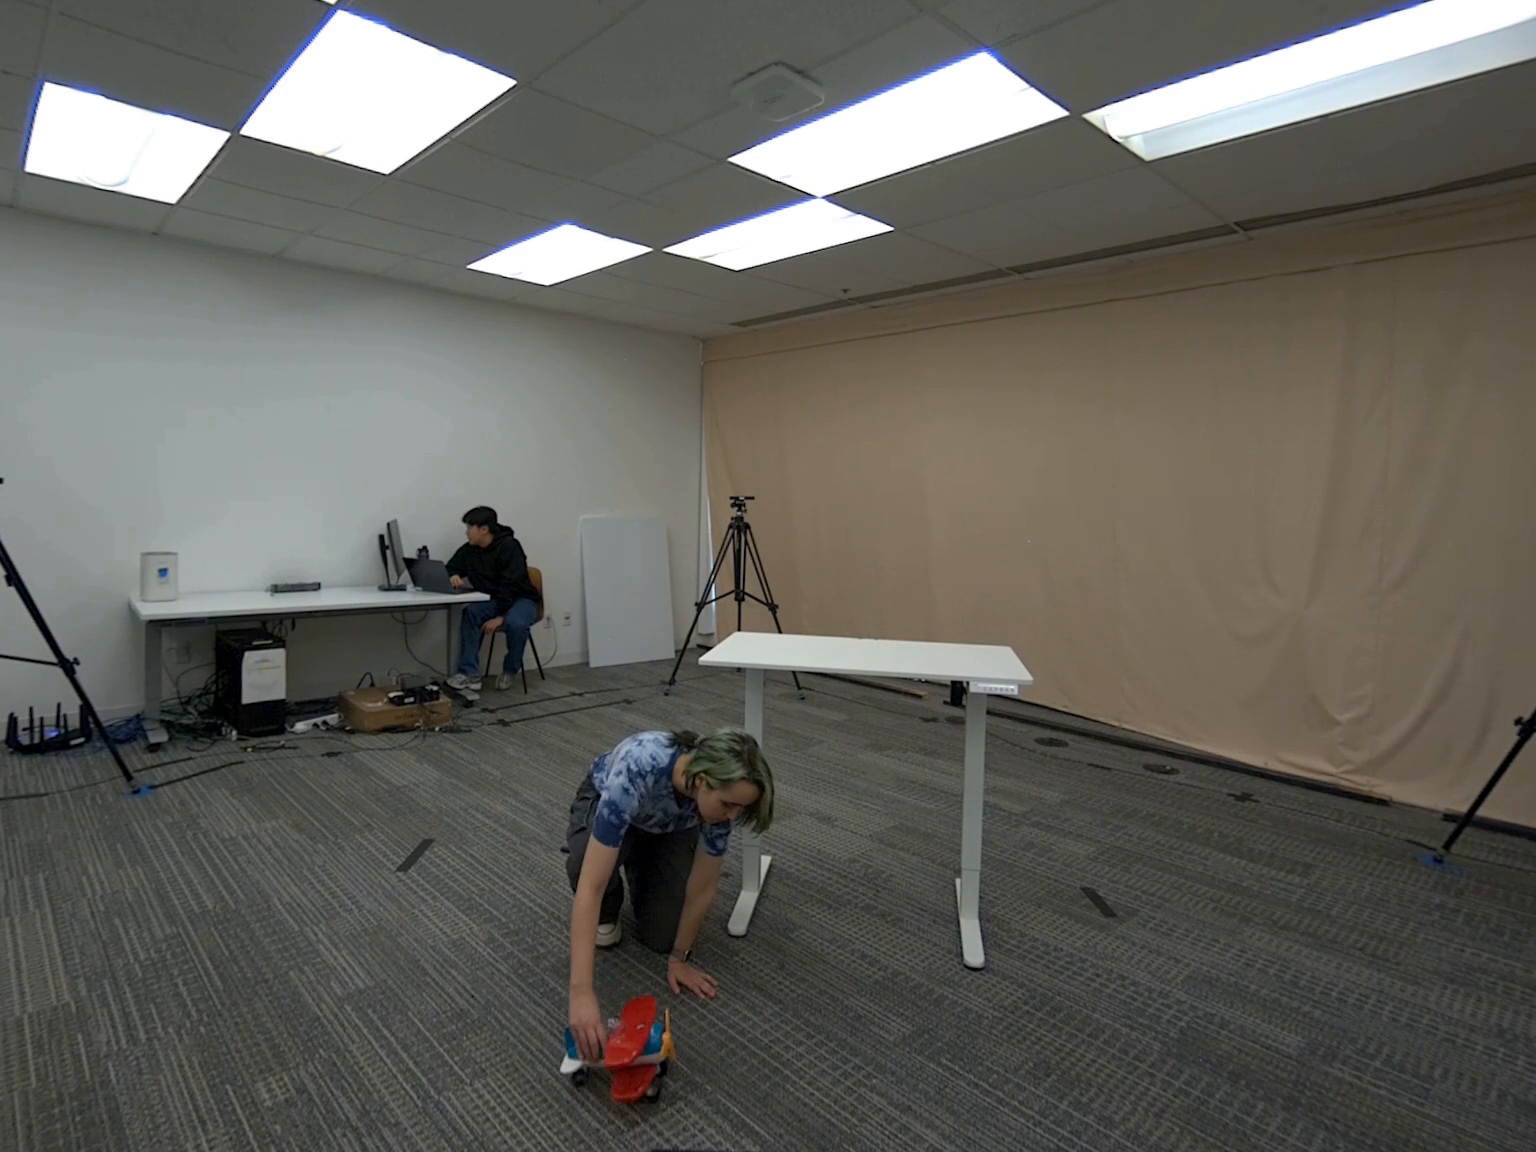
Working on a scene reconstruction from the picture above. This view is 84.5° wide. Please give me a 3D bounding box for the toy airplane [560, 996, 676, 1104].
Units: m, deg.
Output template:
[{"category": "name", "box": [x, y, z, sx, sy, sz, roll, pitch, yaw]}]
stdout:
[{"category": "toy airplane", "box": [-0.367, 1.137, 1.958, 0.255, 0.156, 0.256, 1, 6, -23]}]
